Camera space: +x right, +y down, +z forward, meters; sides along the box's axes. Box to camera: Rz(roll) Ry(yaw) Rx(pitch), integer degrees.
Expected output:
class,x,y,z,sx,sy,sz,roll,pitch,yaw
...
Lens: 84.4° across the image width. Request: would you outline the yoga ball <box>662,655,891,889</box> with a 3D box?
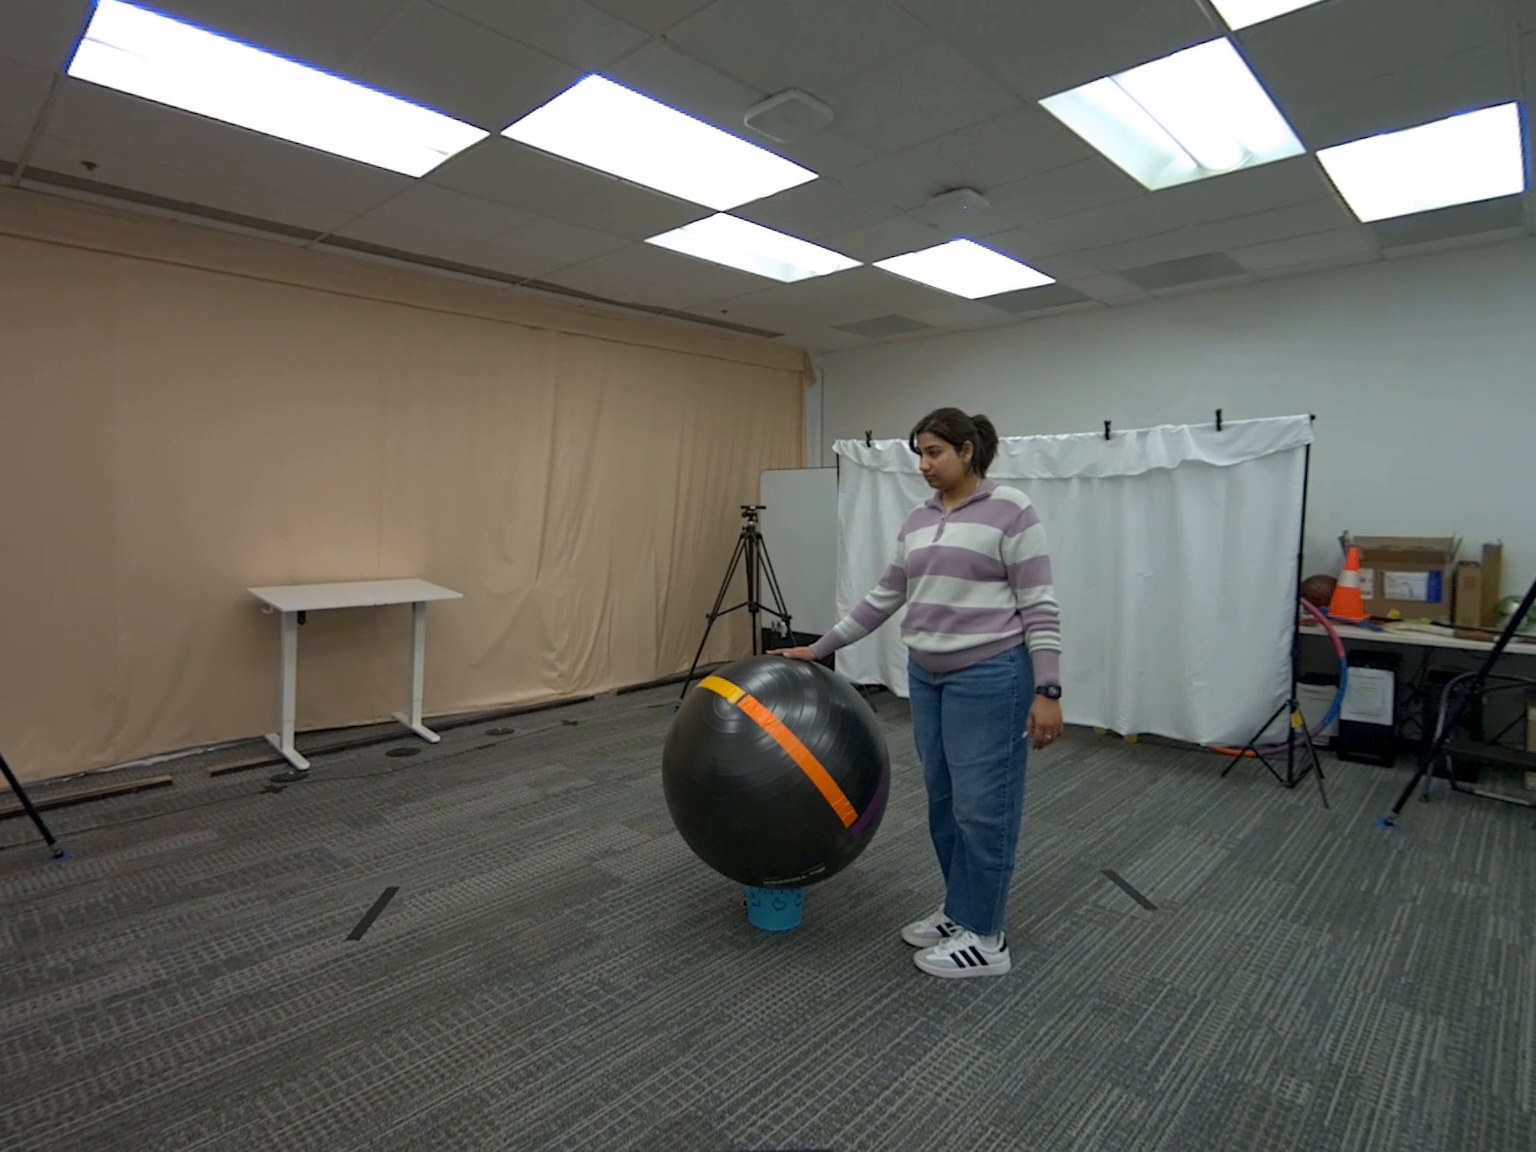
class,x,y,z,sx,sy,sz,roll,pitch,yaw
yoga ball,0.026,0.646,2.828,0.757,0.756,0.760,0,4,-2
